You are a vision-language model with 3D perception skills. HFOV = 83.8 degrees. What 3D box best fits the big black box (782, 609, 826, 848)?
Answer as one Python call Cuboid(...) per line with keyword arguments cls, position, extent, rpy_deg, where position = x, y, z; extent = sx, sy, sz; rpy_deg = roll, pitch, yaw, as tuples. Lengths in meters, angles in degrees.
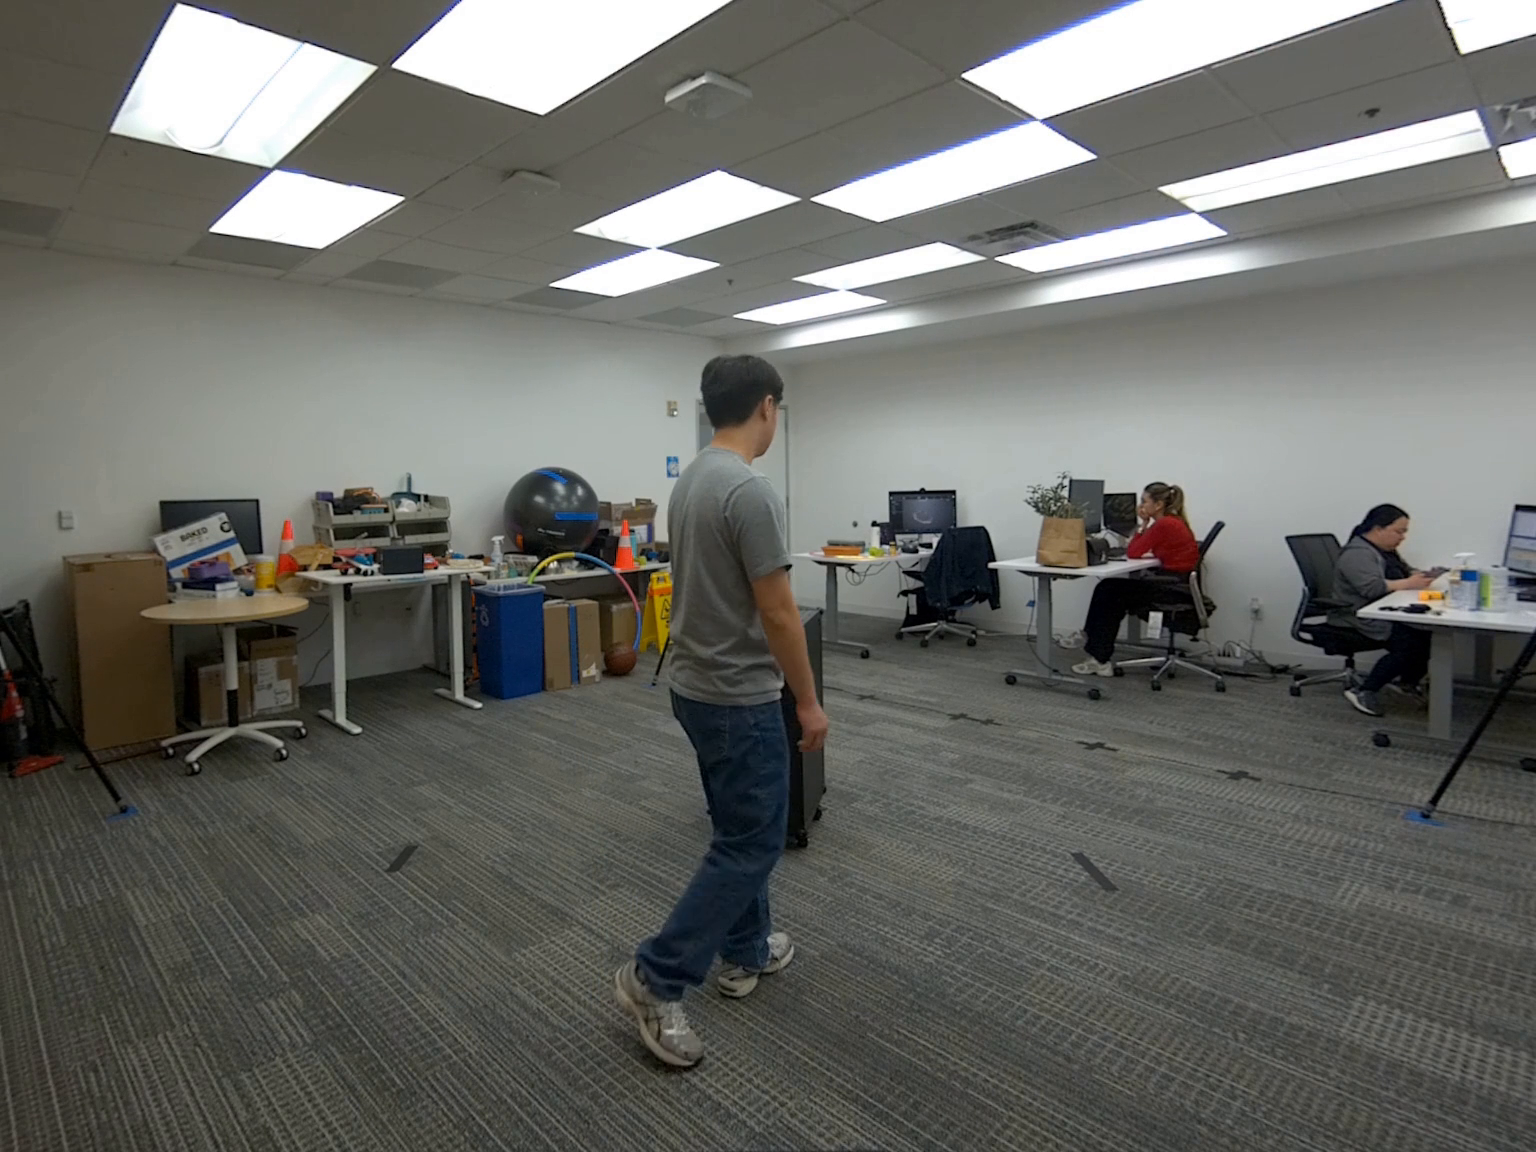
Cuboid(cls="big black box", position=(0.006, 0.586, 3.407), extent=(0.402, 0.858, 0.515), rpy_deg=(-1, 4, 15))
